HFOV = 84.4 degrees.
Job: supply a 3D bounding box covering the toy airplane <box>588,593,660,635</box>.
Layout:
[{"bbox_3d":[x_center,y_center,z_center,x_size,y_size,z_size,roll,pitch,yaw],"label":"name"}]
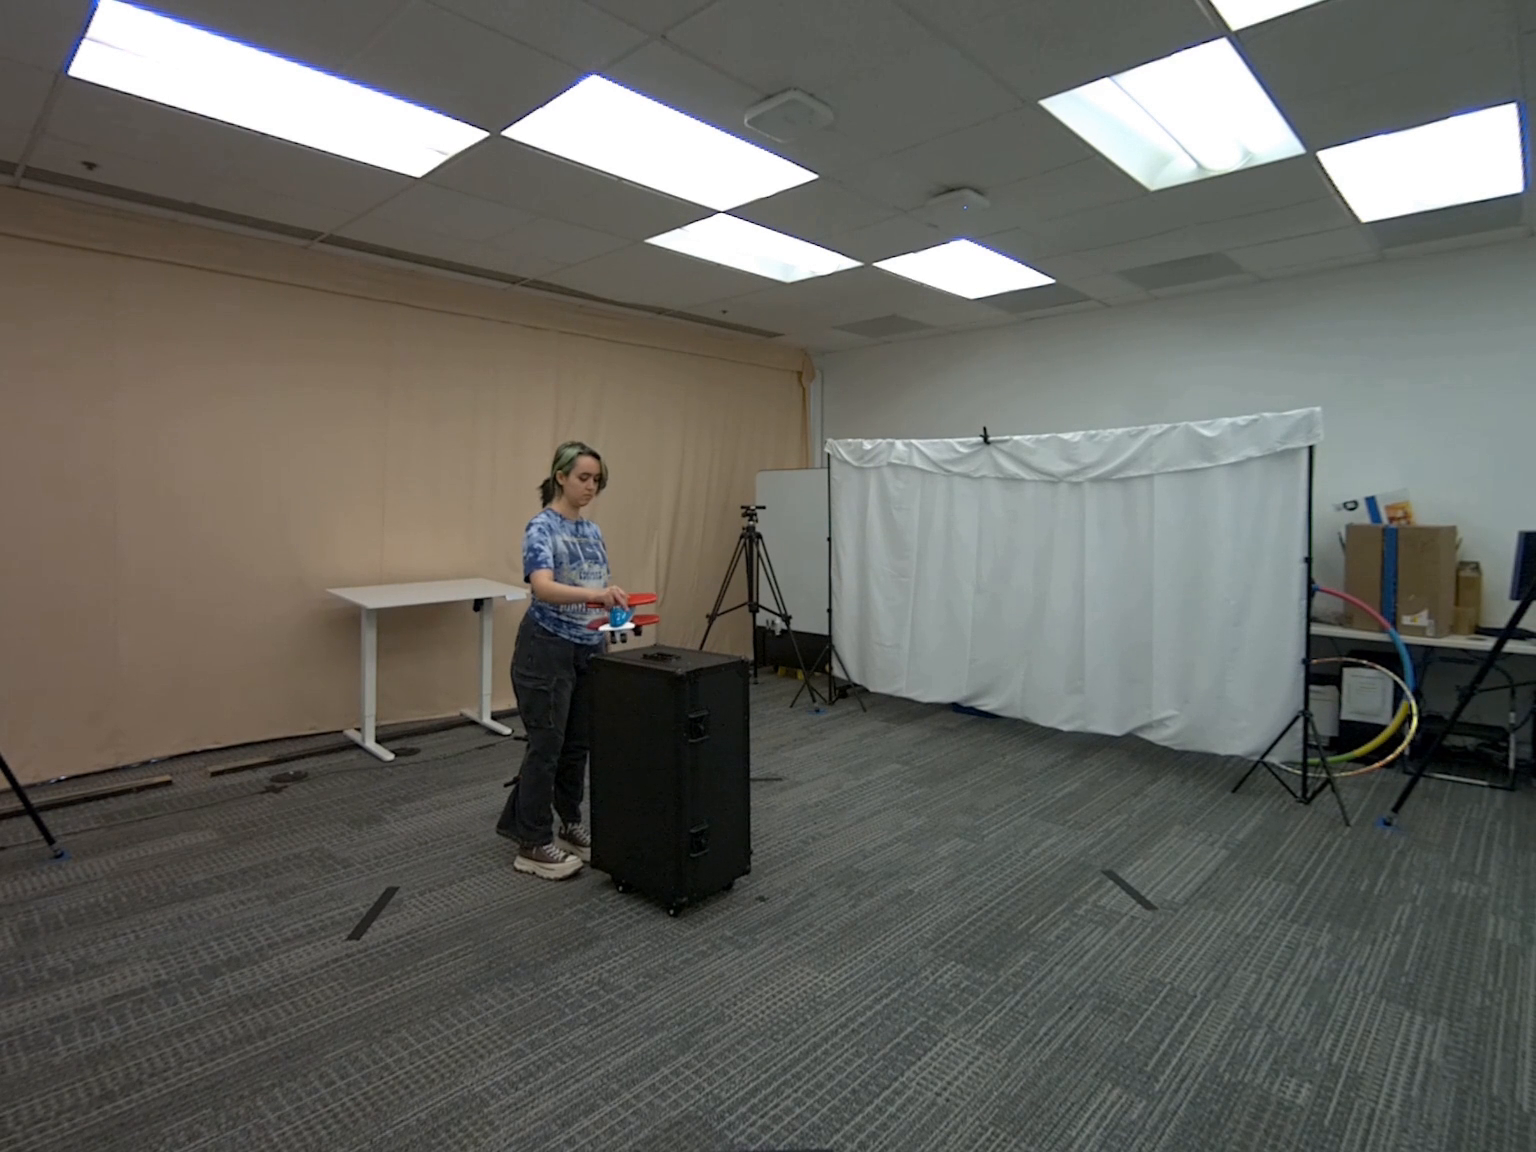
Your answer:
[{"bbox_3d":[-0.491,0.147,2.940,0.245,0.156,0.266,-5,1,-27],"label":"toy airplane"}]
